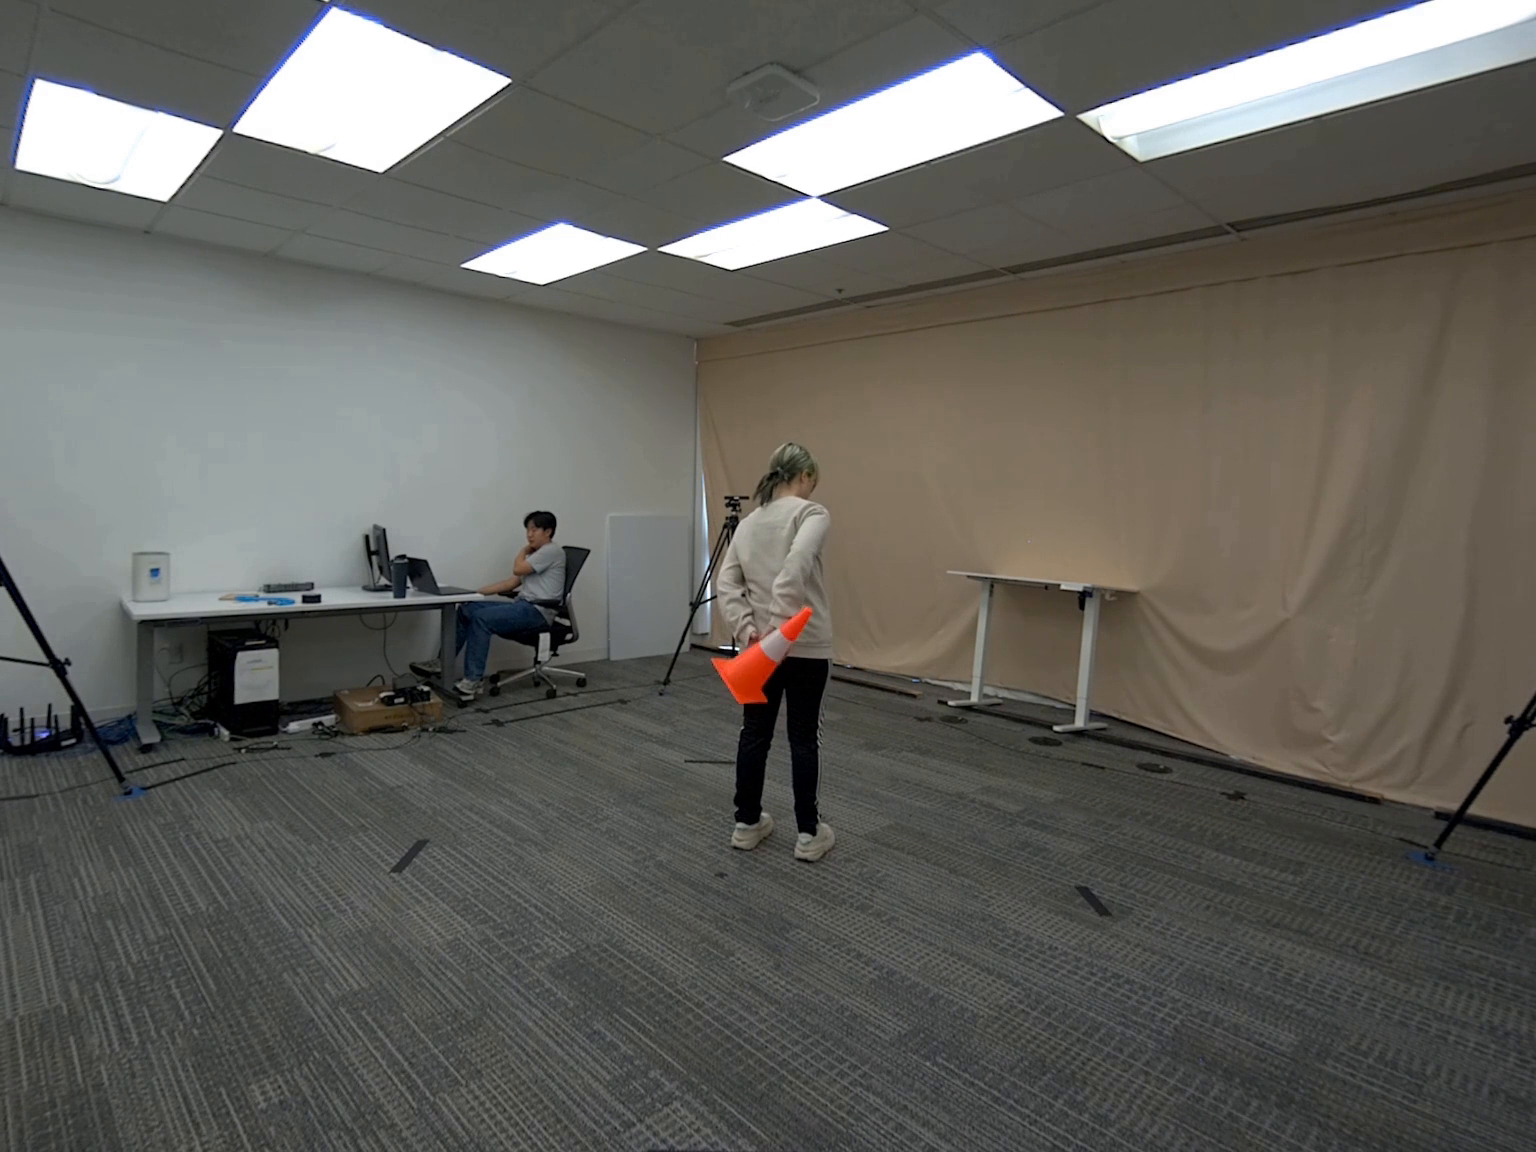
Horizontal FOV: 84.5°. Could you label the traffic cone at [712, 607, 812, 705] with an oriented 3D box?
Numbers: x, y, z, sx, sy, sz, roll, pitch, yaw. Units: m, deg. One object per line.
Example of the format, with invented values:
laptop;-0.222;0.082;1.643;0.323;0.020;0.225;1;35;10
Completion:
traffic cone;0.013;0.249;2.951;0.198;0.384;0.210;10;39;-55
